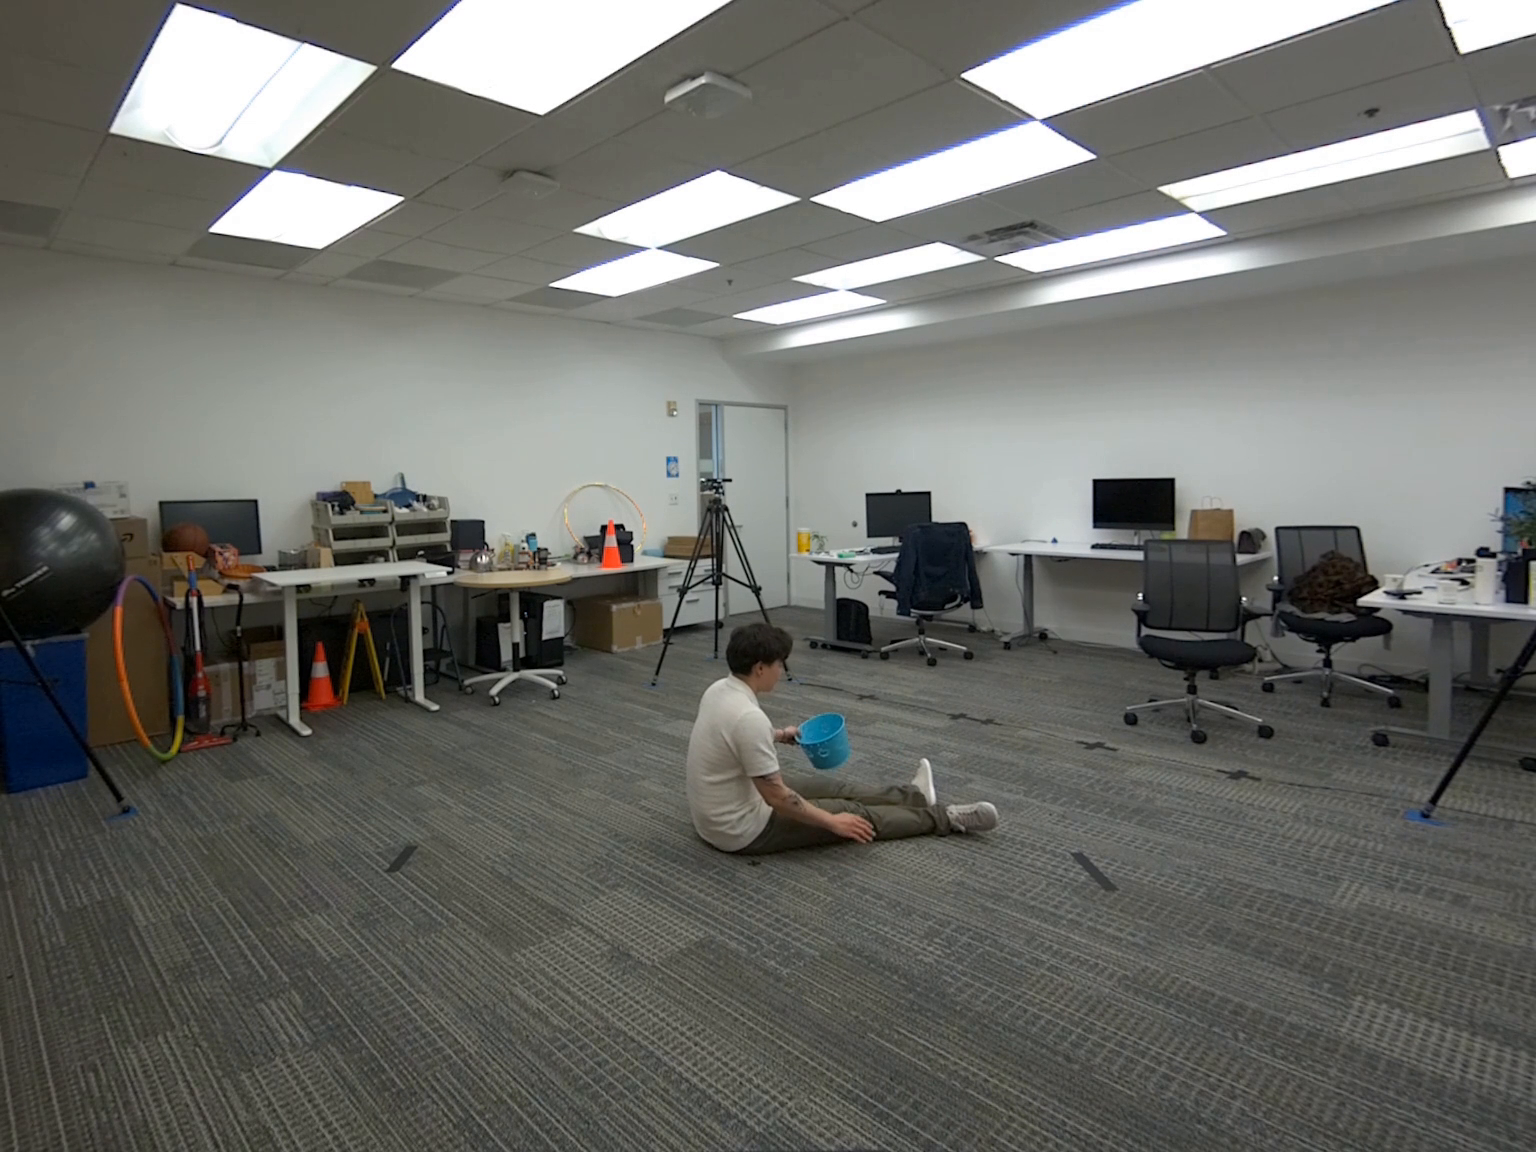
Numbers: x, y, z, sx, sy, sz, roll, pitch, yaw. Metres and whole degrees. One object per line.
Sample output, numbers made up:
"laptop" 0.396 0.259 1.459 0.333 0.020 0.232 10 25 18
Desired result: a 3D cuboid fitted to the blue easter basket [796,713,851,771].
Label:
"blue easter basket" 0.249 0.725 3.716 0.244 0.153 0.247 -20 14 3
